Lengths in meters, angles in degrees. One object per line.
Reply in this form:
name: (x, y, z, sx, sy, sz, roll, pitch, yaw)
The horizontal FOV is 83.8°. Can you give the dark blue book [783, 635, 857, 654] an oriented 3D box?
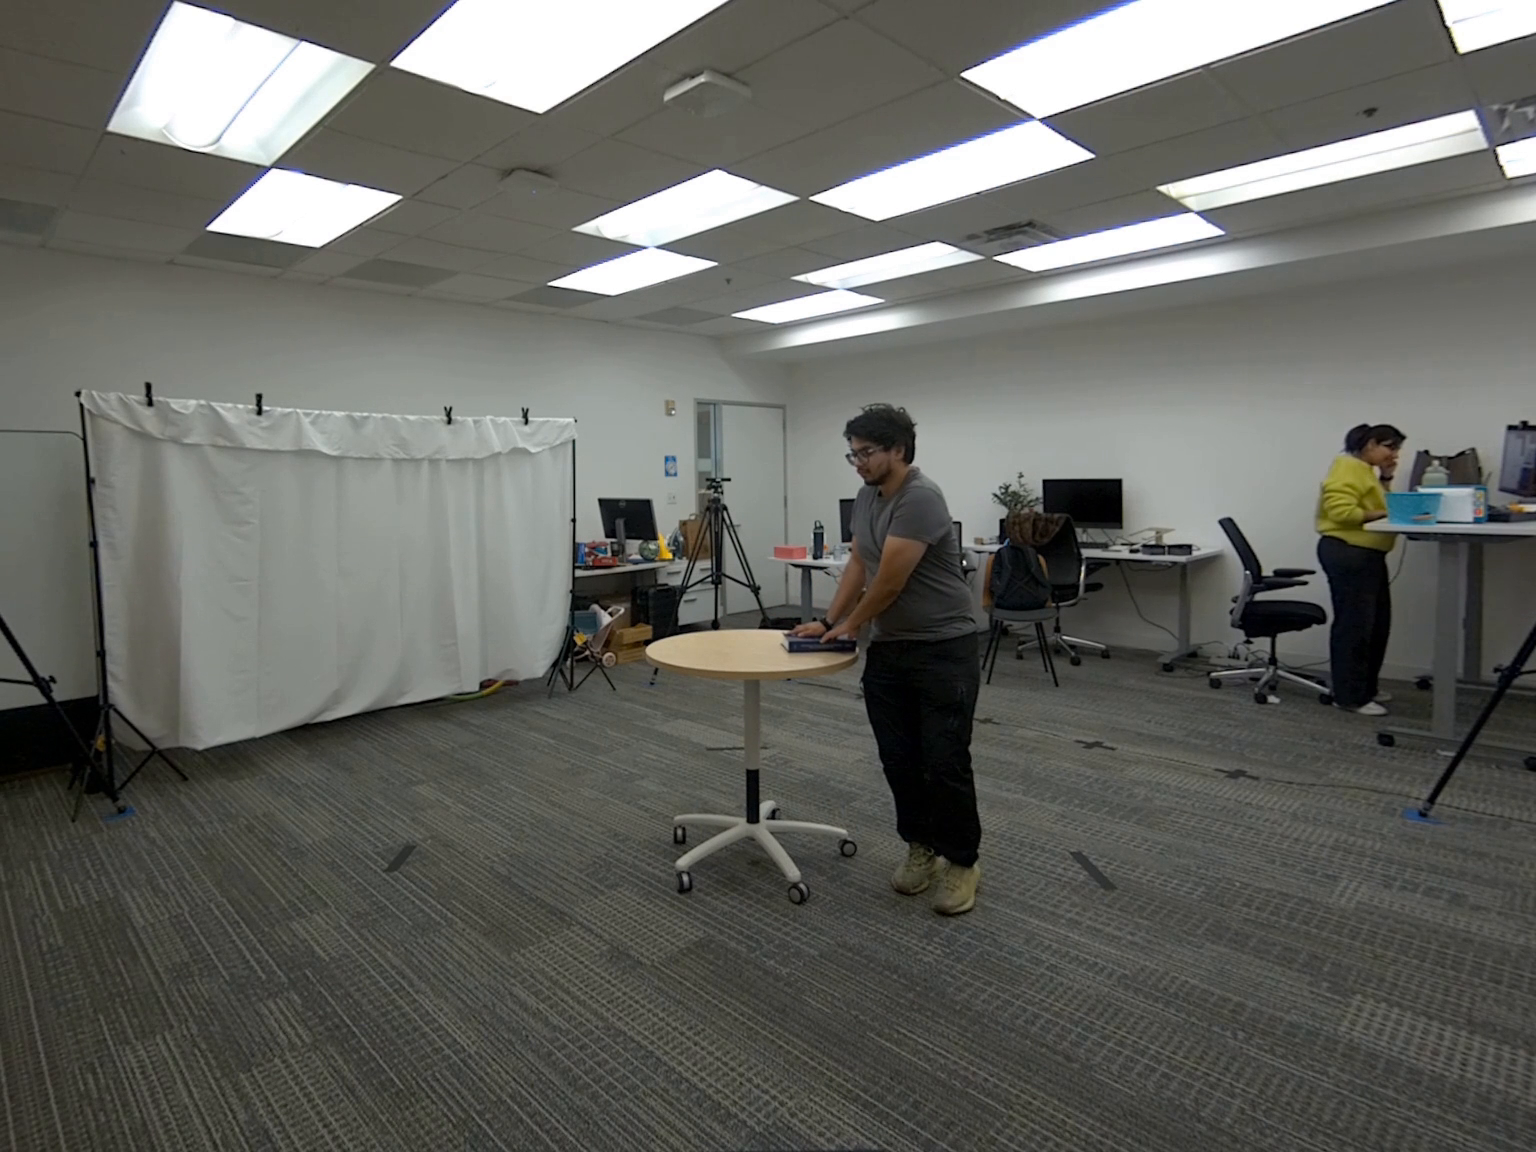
dark blue book: (0.186, 0.240, 3.076, 0.244, 0.045, 0.164, 0, 6, -3)
